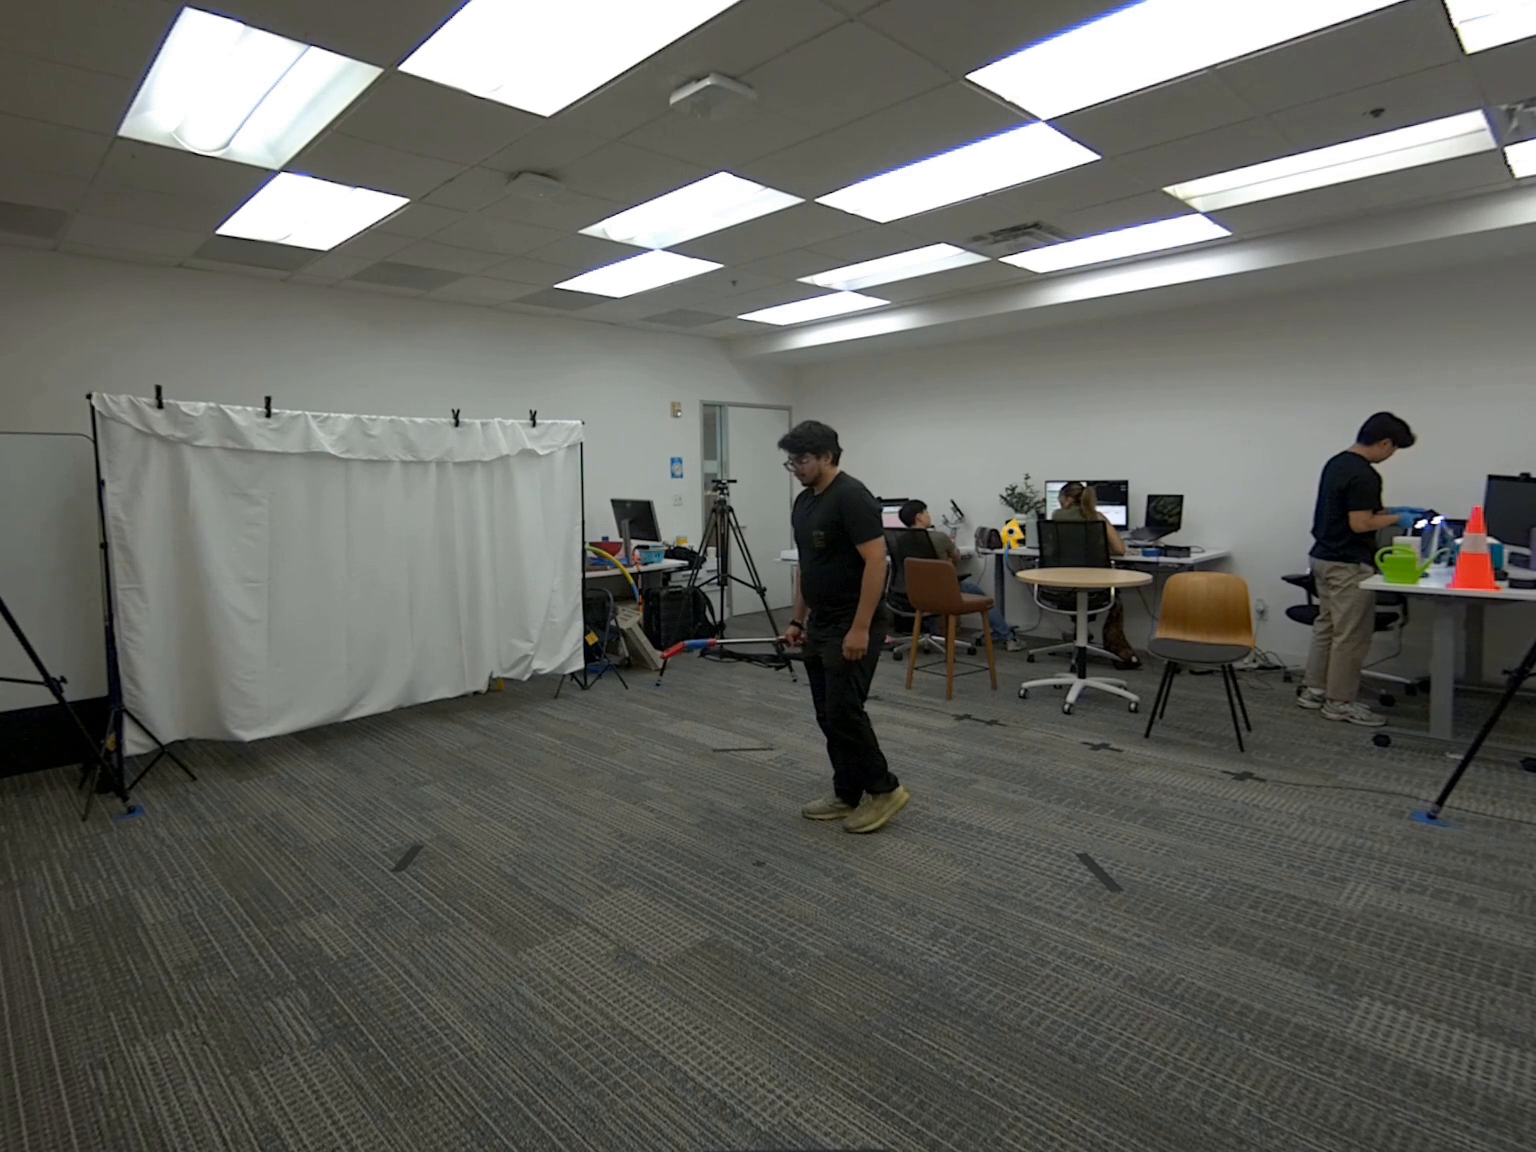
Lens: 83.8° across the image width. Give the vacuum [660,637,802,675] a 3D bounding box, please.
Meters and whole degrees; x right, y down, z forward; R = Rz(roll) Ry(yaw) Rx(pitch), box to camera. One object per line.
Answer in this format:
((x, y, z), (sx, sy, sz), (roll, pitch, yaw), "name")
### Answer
((0.036, 0.316, 3.622), (1.024, 0.142, 0.261), (-1, 14, -28), "vacuum")
